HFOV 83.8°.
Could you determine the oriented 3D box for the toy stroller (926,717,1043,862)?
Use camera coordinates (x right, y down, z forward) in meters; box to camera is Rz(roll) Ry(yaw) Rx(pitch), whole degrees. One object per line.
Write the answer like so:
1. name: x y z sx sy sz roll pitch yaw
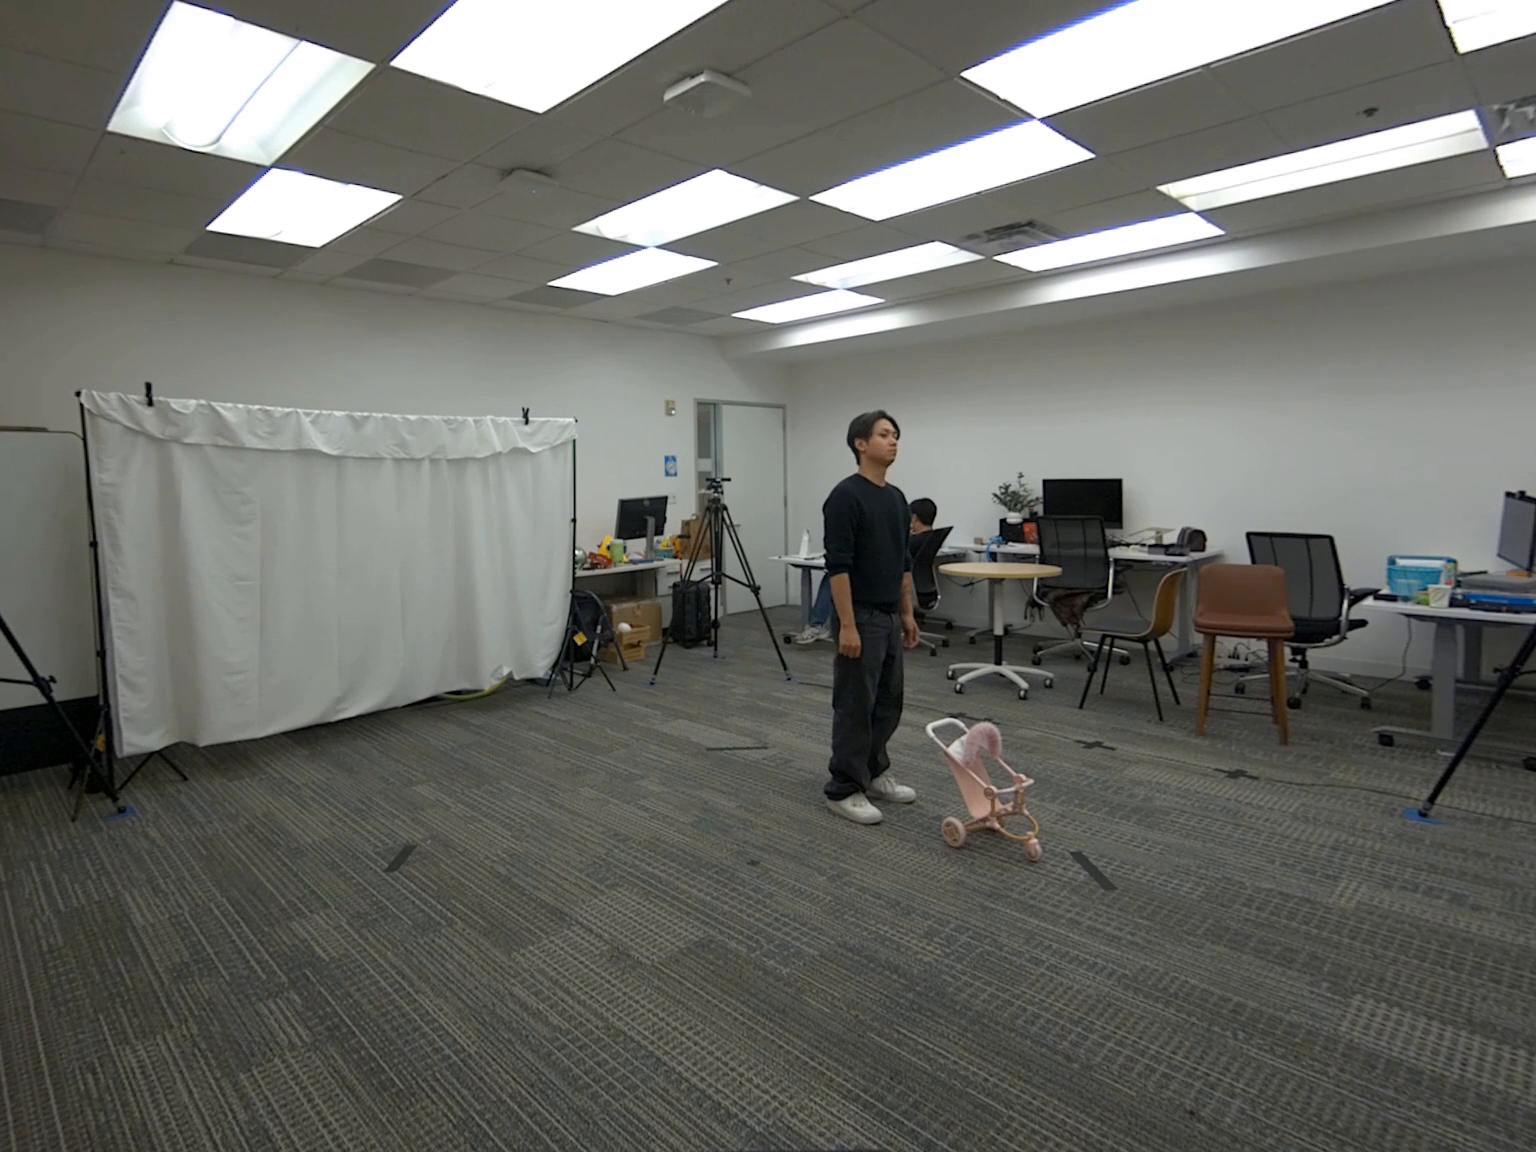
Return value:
1. toy stroller: 0.830 0.792 3.226 0.274 0.542 0.346 -4 -13 -34
